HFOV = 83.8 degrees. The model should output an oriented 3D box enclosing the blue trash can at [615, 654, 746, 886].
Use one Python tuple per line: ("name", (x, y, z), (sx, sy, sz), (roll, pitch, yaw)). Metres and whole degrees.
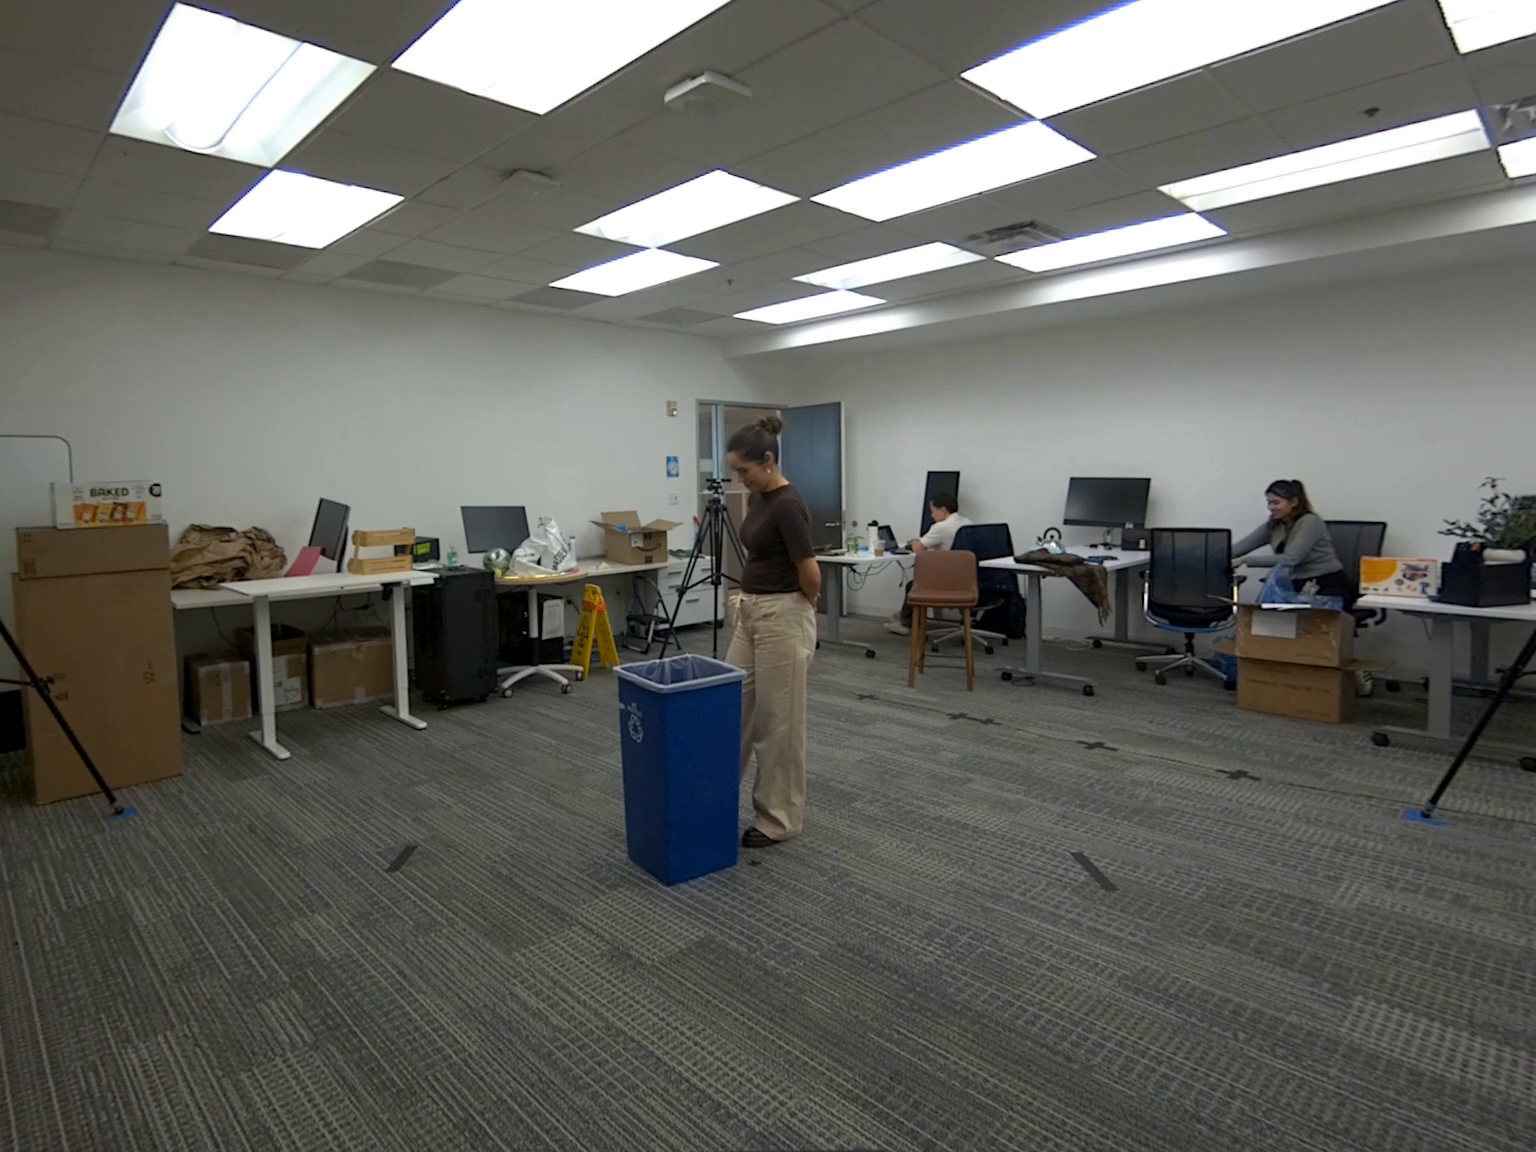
("blue trash can", (-0.323, 0.691, 3.096), (0.364, 0.710, 0.390), (-4, 6, -37))
